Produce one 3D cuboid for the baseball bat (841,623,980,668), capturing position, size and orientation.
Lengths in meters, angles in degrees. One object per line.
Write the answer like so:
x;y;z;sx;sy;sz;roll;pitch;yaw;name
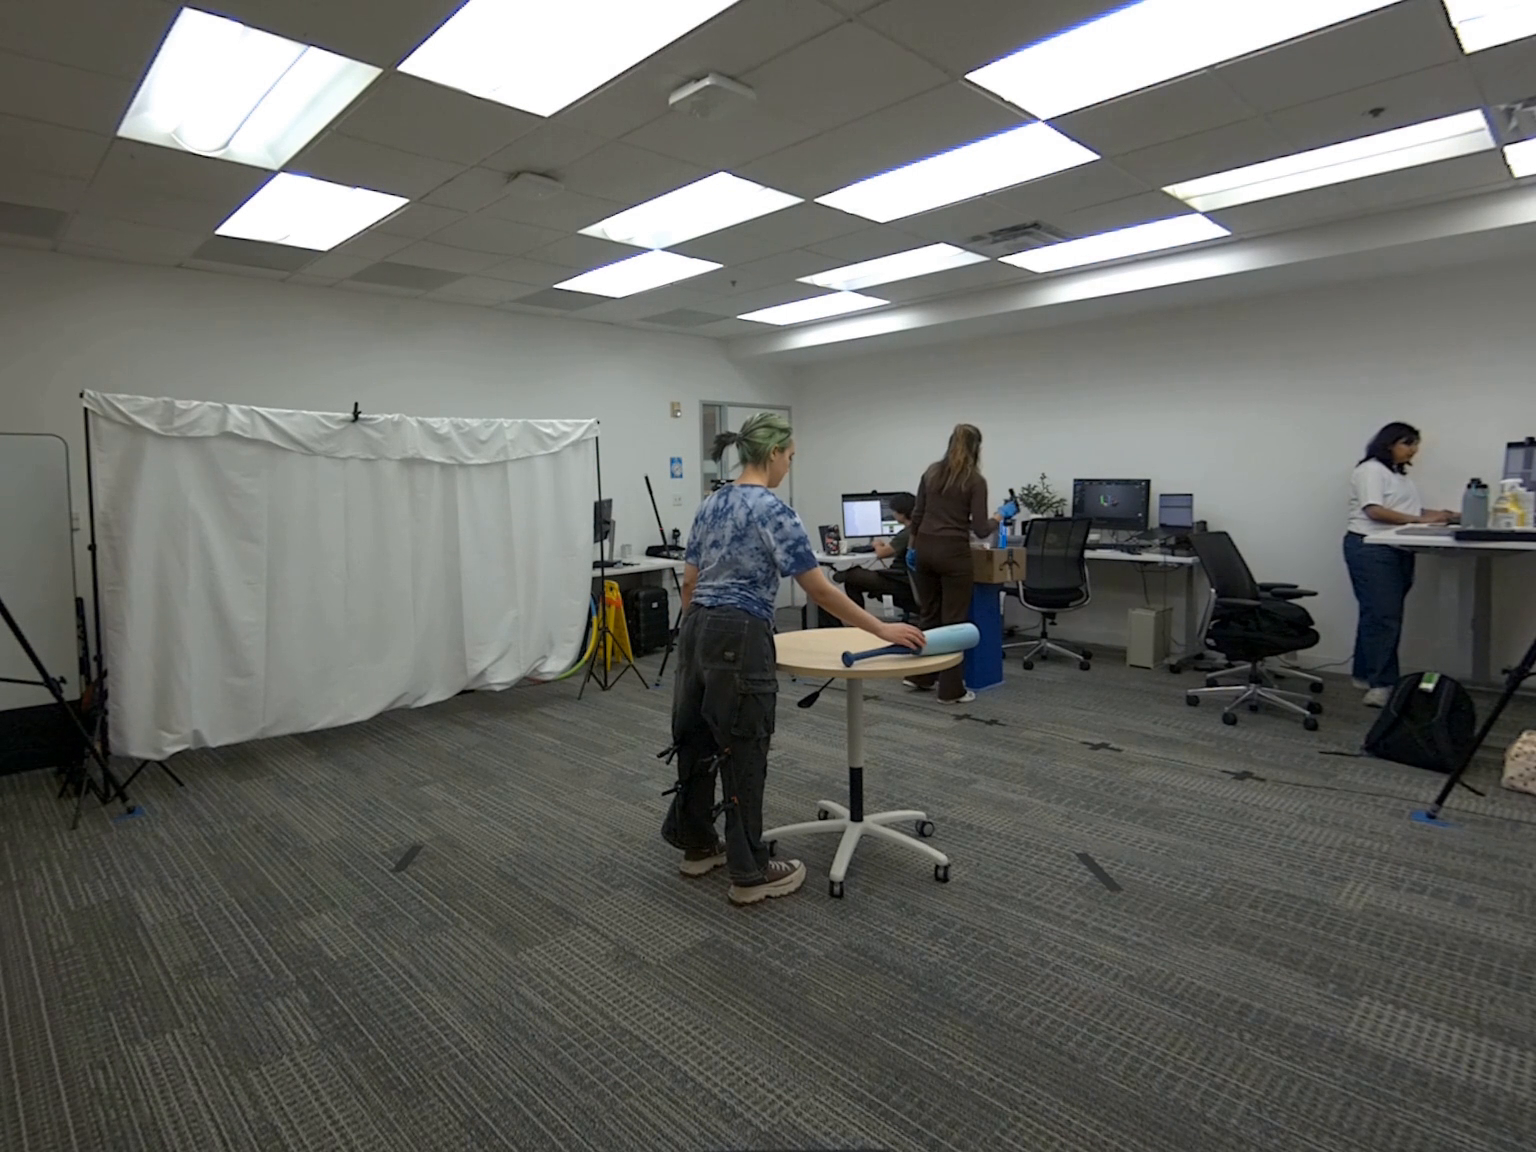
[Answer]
0.481;0.239;2.884;0.533;0.088;0.091;-8;7;-25;baseball bat
